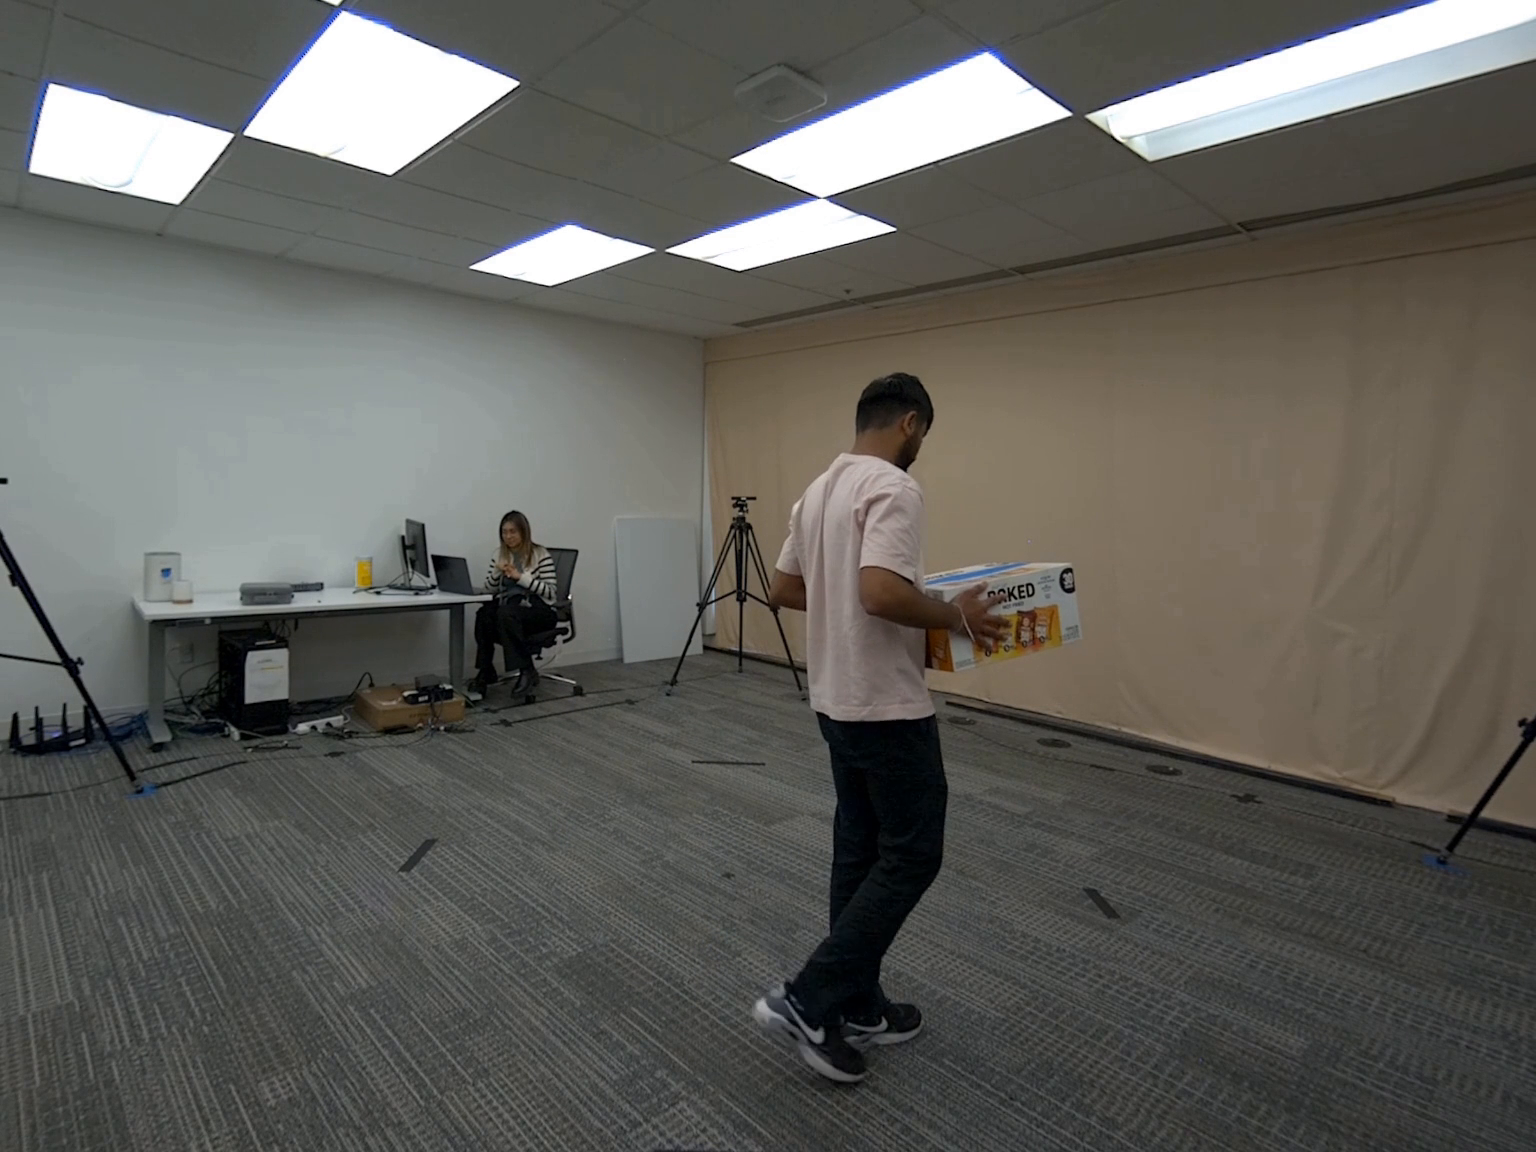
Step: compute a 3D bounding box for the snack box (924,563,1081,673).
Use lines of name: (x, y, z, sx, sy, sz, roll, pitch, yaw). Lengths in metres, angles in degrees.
snack box: (0.532, 0.097, 2.218, 0.399, 0.205, 0.346, -10, 4, -24)
